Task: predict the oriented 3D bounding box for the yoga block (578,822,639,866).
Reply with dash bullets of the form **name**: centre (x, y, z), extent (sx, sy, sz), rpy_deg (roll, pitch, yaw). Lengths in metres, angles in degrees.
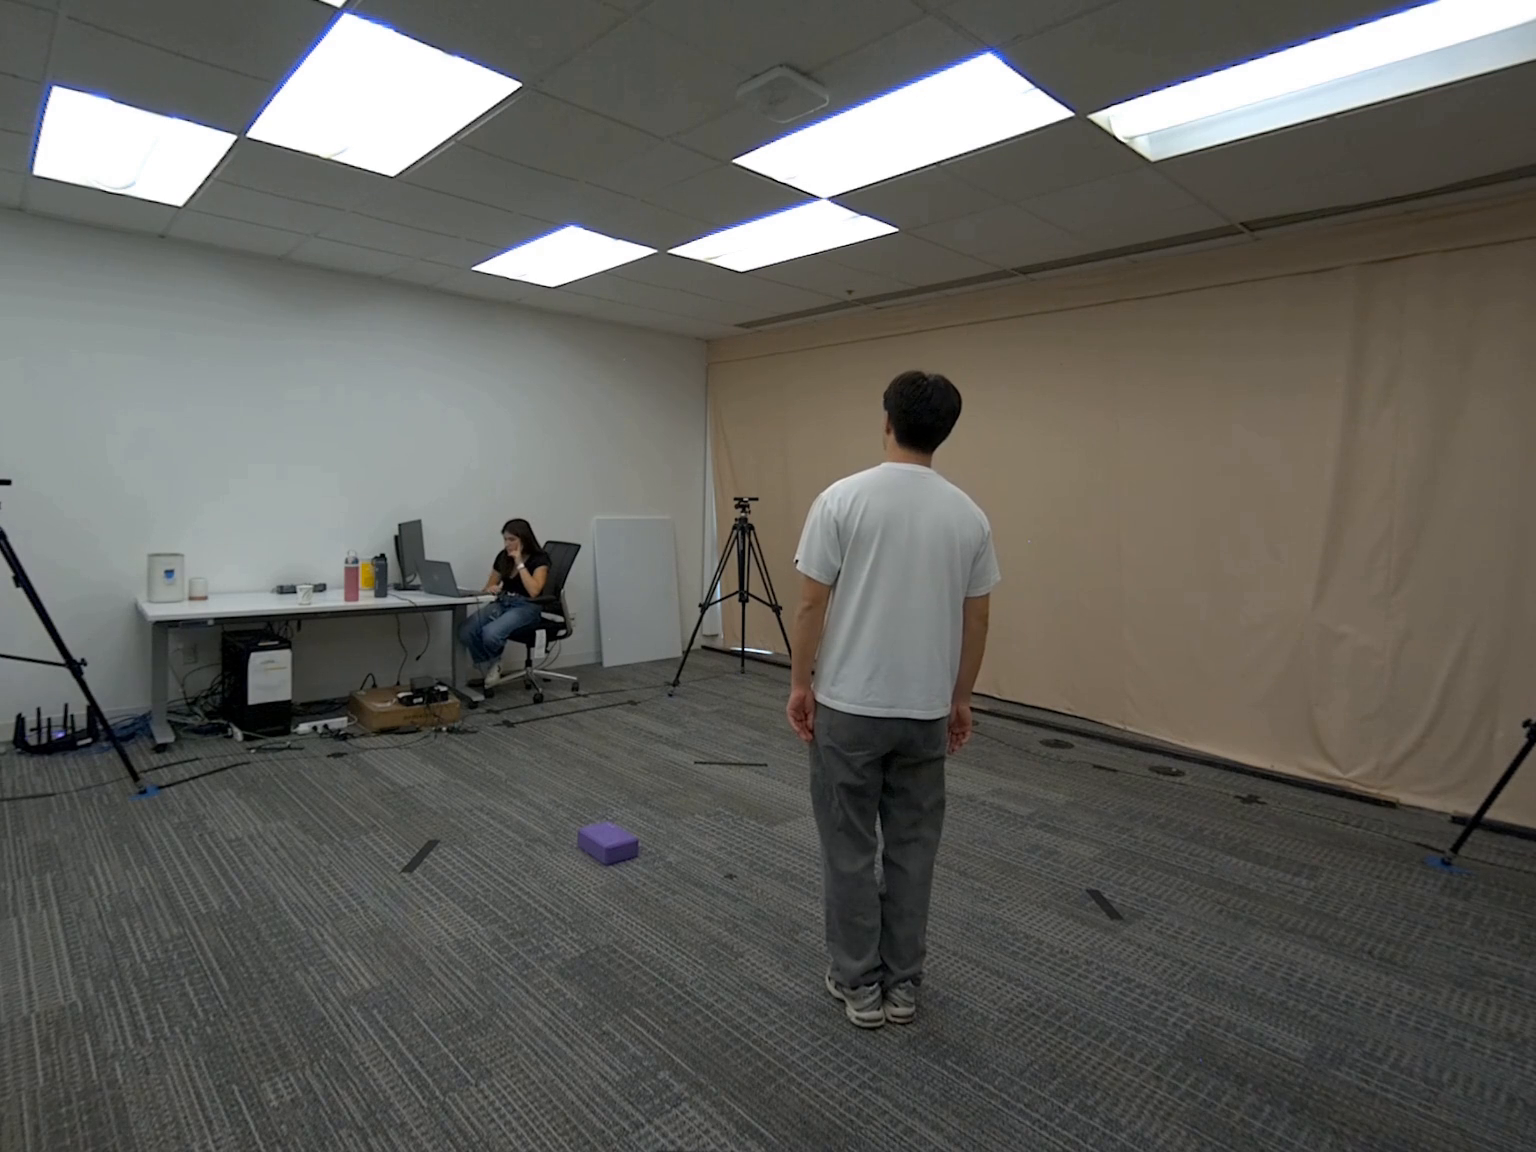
- **yoga block**: centre (-0.635, 1.045, 3.285), extent (0.145, 0.076, 0.235), rpy_deg (-2, 6, -41)
